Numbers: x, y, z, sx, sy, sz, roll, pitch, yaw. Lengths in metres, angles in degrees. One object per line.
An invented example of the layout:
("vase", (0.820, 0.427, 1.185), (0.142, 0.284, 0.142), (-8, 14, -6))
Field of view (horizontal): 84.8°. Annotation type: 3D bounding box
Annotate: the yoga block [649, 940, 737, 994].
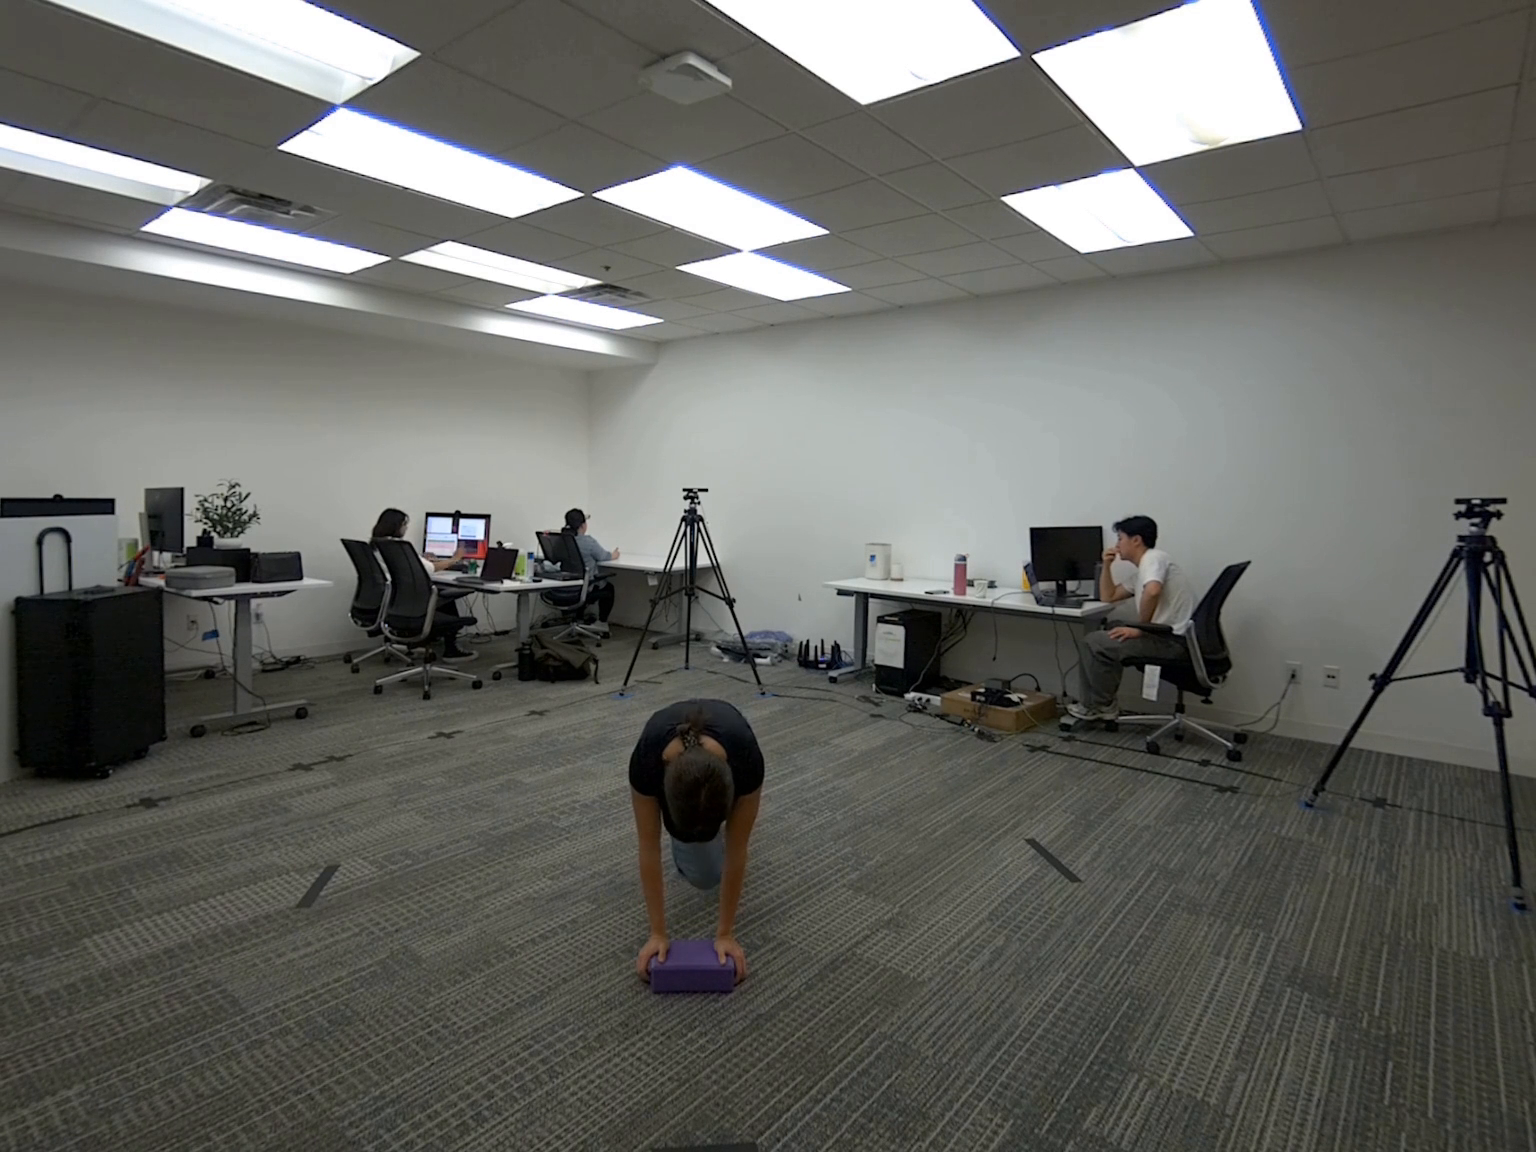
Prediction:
("yoga block", (-0.216, 1.099, 2.409), (0.228, 0.076, 0.150), (2, 4, -4))
